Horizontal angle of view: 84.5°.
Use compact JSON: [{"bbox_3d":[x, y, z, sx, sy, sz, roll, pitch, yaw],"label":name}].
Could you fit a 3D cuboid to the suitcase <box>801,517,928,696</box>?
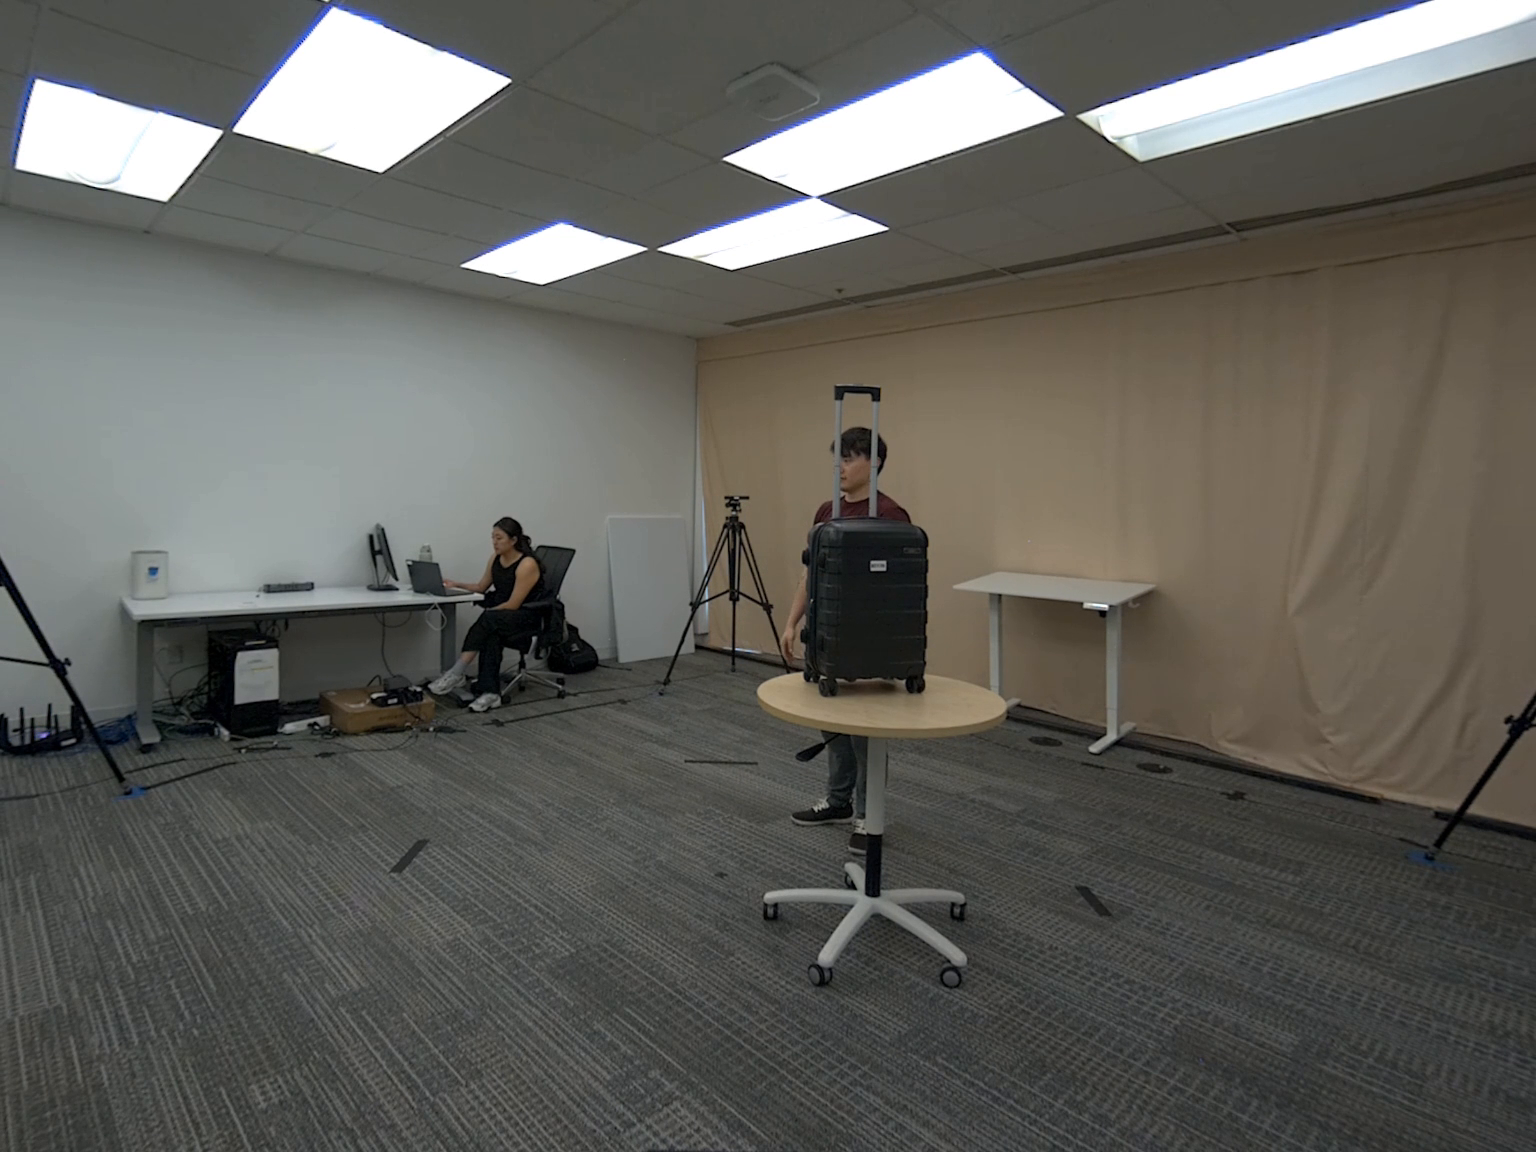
[{"bbox_3d":[0.312,-0.113,2.691,0.381,0.974,0.260,0,6,-10],"label":"suitcase"}]
